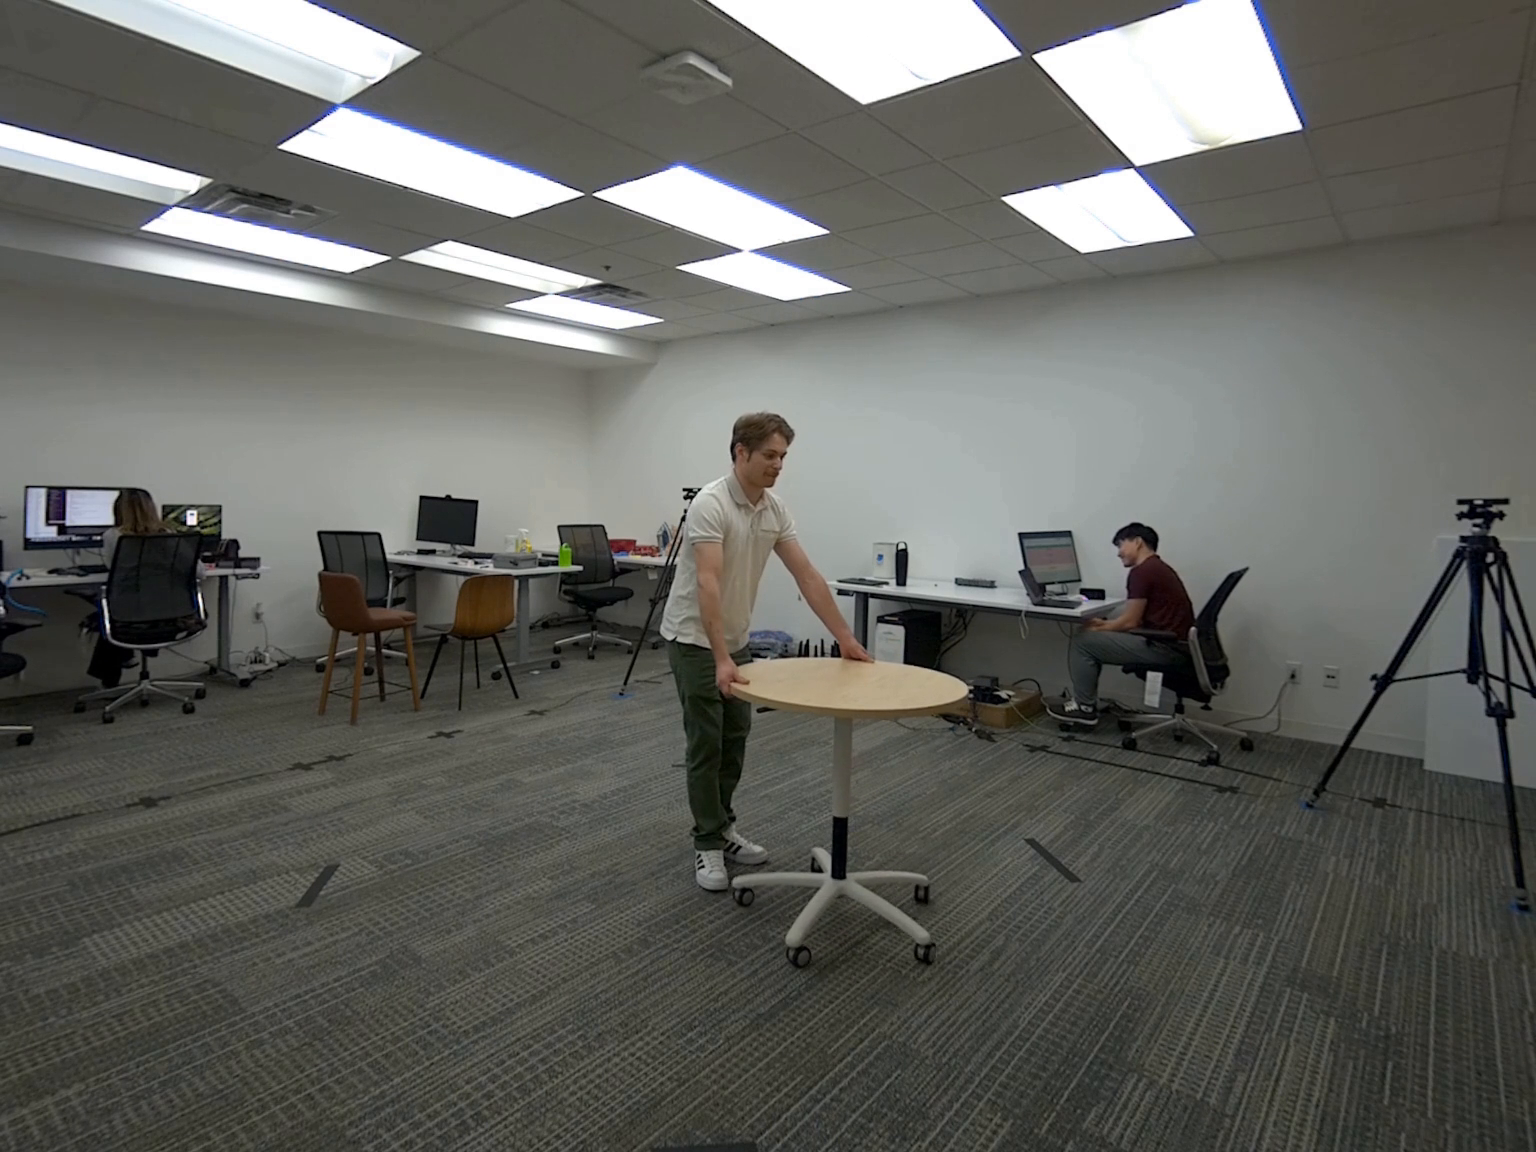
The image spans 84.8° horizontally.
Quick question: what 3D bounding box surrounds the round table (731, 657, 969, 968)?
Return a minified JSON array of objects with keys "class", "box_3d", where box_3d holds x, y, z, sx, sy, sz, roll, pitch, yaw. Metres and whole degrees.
[{"class":"round table","box_3d":[0.228,0.726,2.751,0.763,0.791,0.768,1,4,-2]}]
